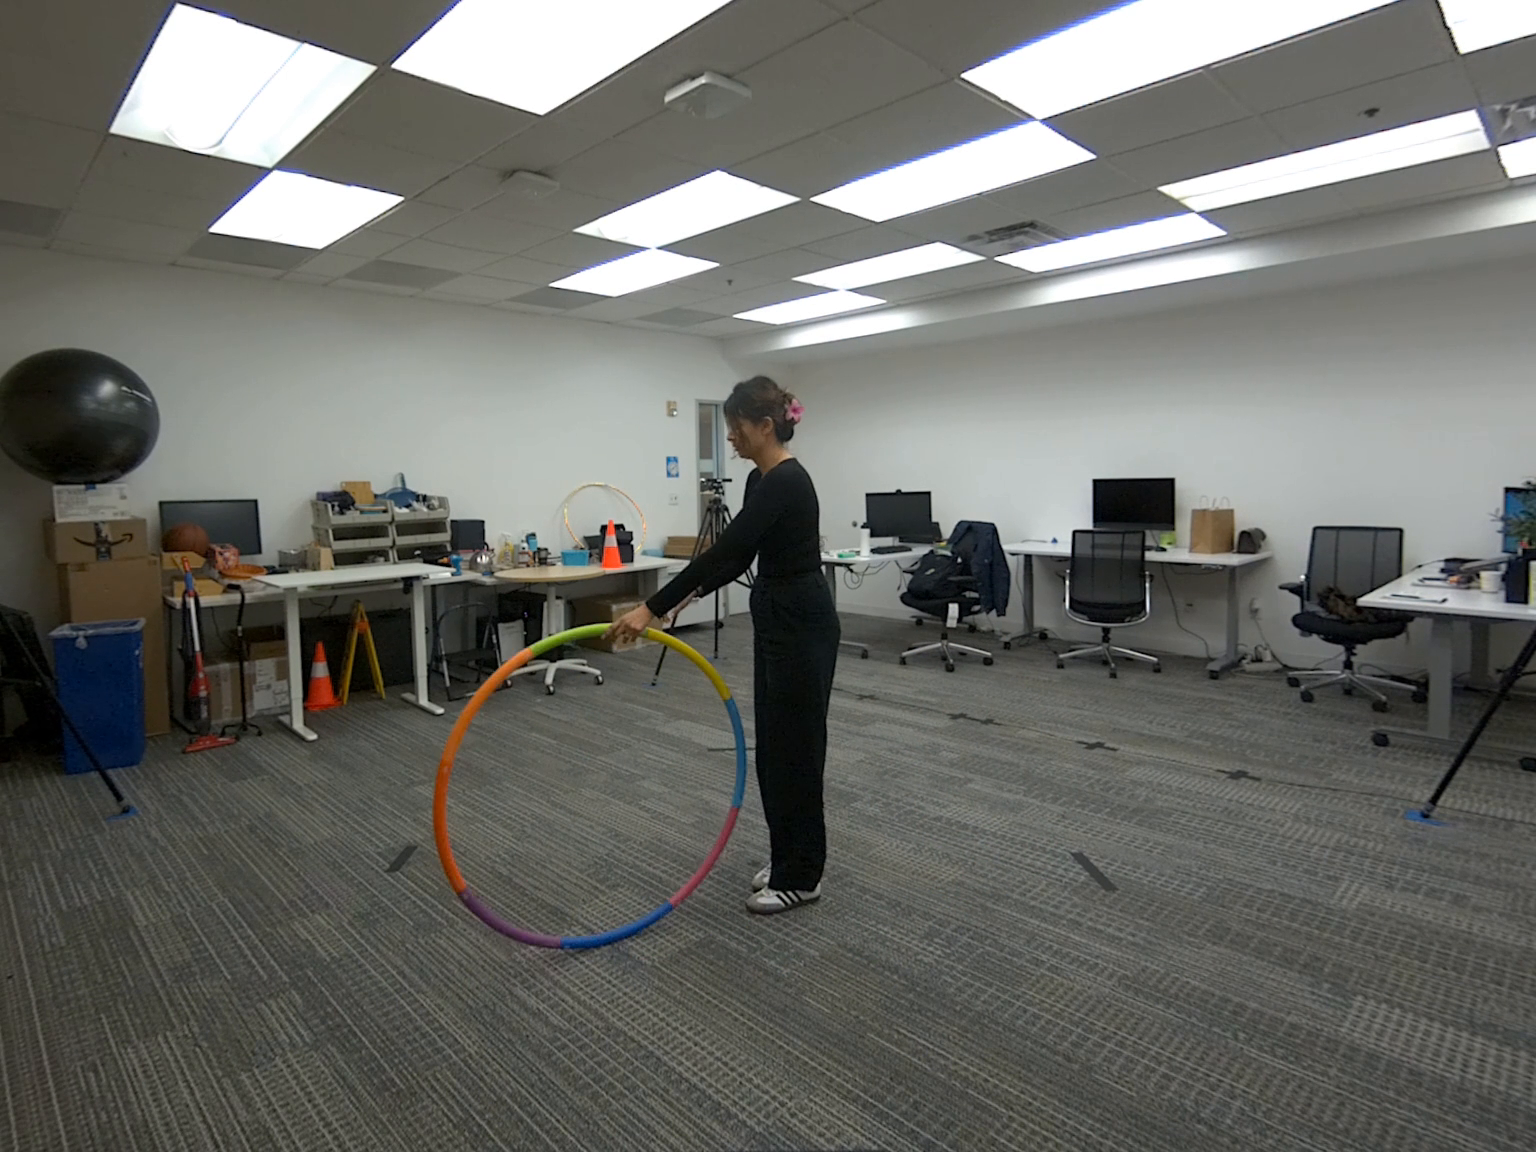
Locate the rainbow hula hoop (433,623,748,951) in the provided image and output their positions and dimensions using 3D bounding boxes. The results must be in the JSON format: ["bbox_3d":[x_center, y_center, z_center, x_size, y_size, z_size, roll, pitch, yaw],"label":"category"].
[{"bbox_3d":[-0.484,0.633,2.580,0.955,0.976,0.036,-4,3,-30],"label":"rainbow hula hoop"}]
